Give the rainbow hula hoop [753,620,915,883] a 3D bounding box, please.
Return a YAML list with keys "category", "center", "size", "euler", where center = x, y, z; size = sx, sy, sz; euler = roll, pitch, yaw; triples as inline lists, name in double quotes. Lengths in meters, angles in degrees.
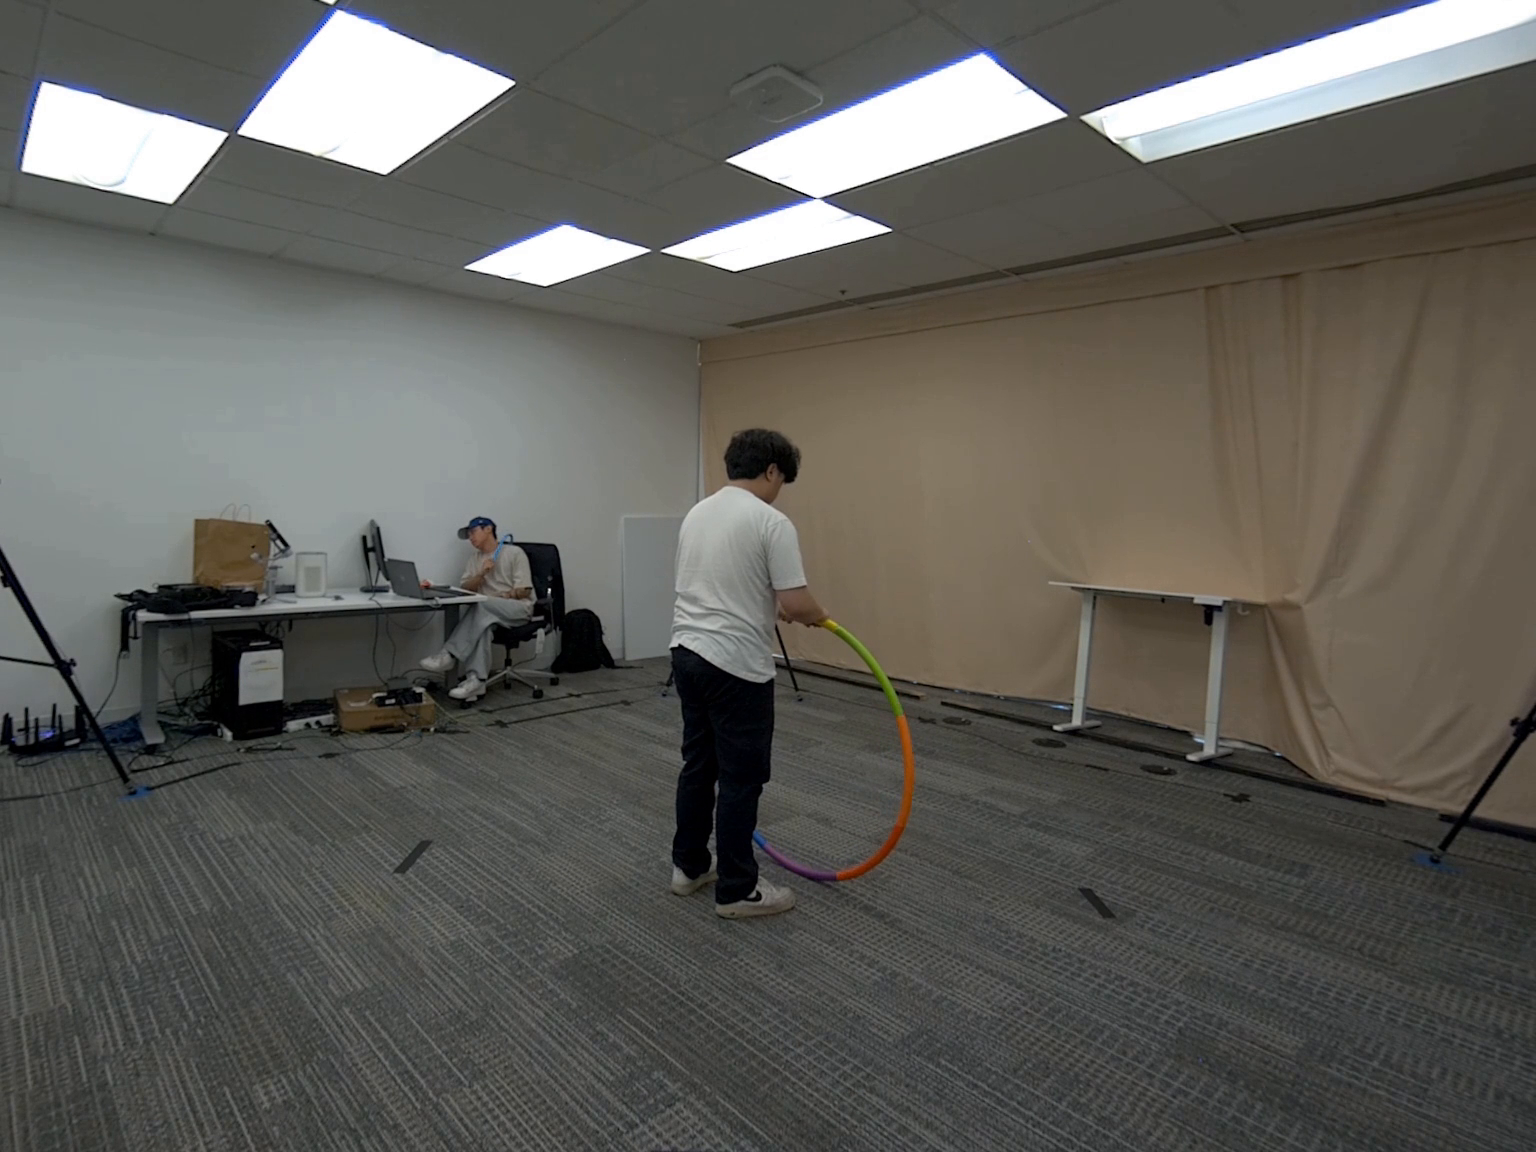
- category: "rainbow hula hoop"
  center: [0.116, 0.621, 3.115]
  size: [0.050, 0.982, 1.011]
  euler: [-3, 6, -44]
